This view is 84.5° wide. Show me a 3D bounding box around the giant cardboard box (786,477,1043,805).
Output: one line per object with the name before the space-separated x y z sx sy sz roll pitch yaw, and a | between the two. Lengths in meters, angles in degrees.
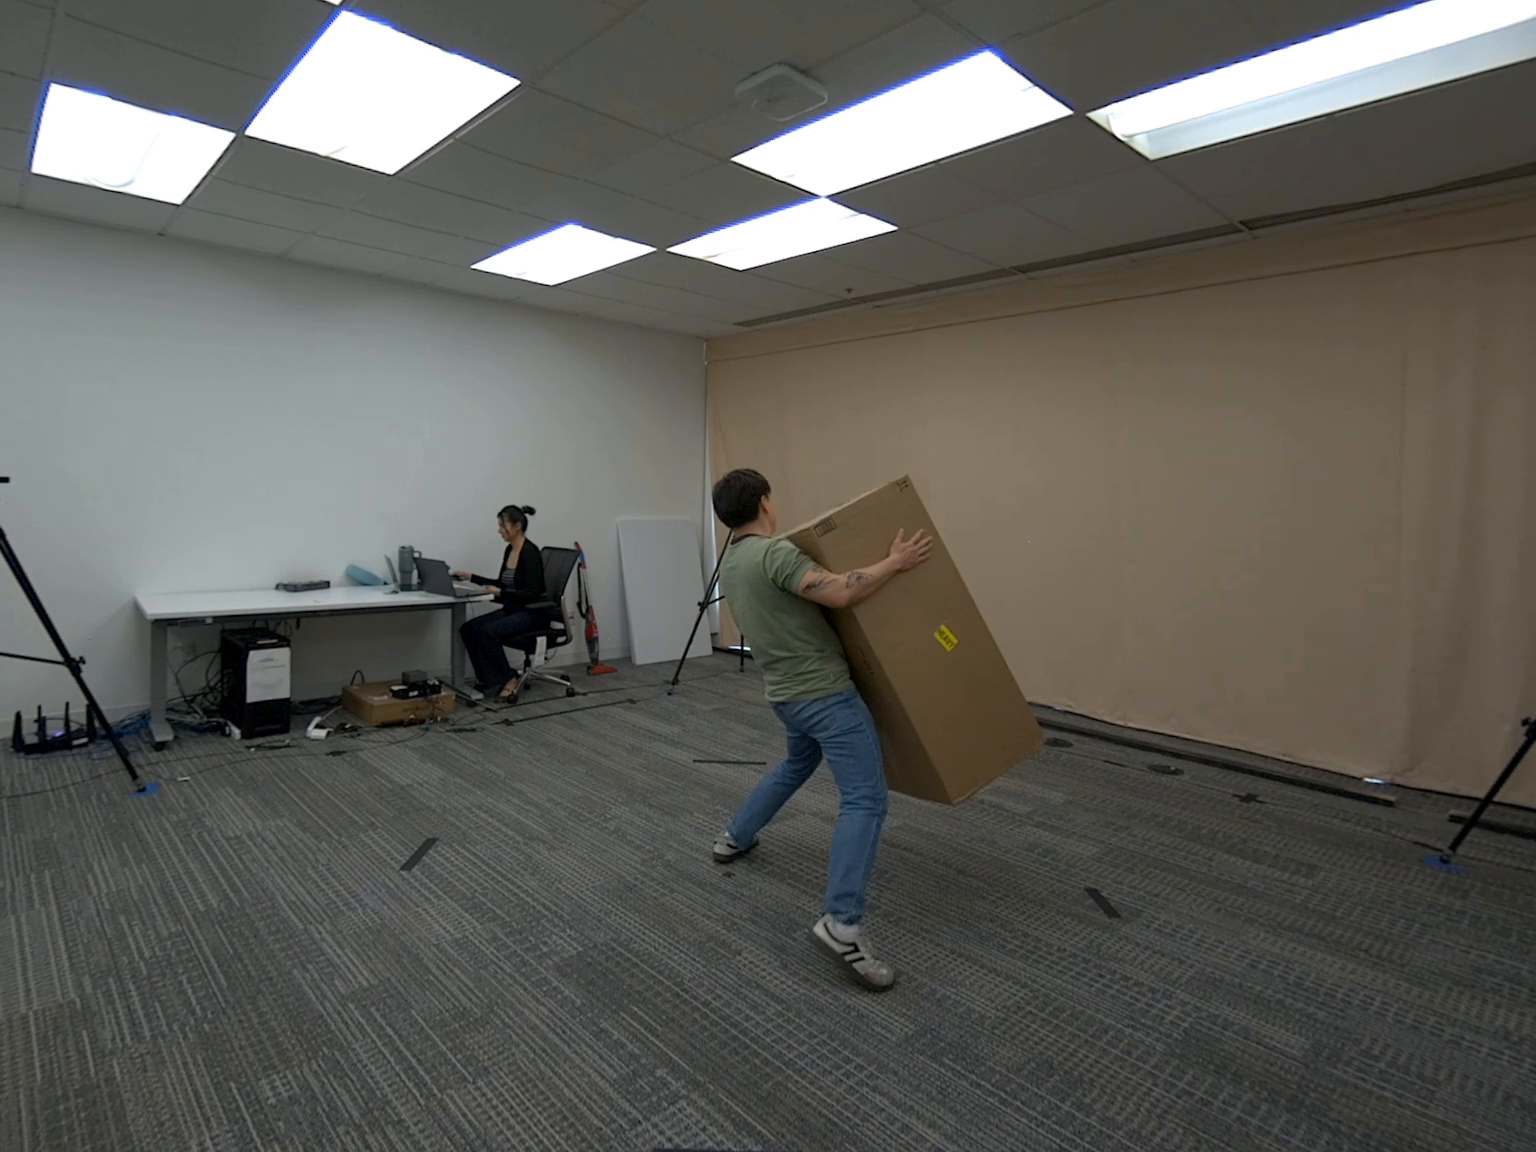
giant cardboard box | 0.442 0.232 3.055 0.423 1.025 0.582 -27 1 -20
